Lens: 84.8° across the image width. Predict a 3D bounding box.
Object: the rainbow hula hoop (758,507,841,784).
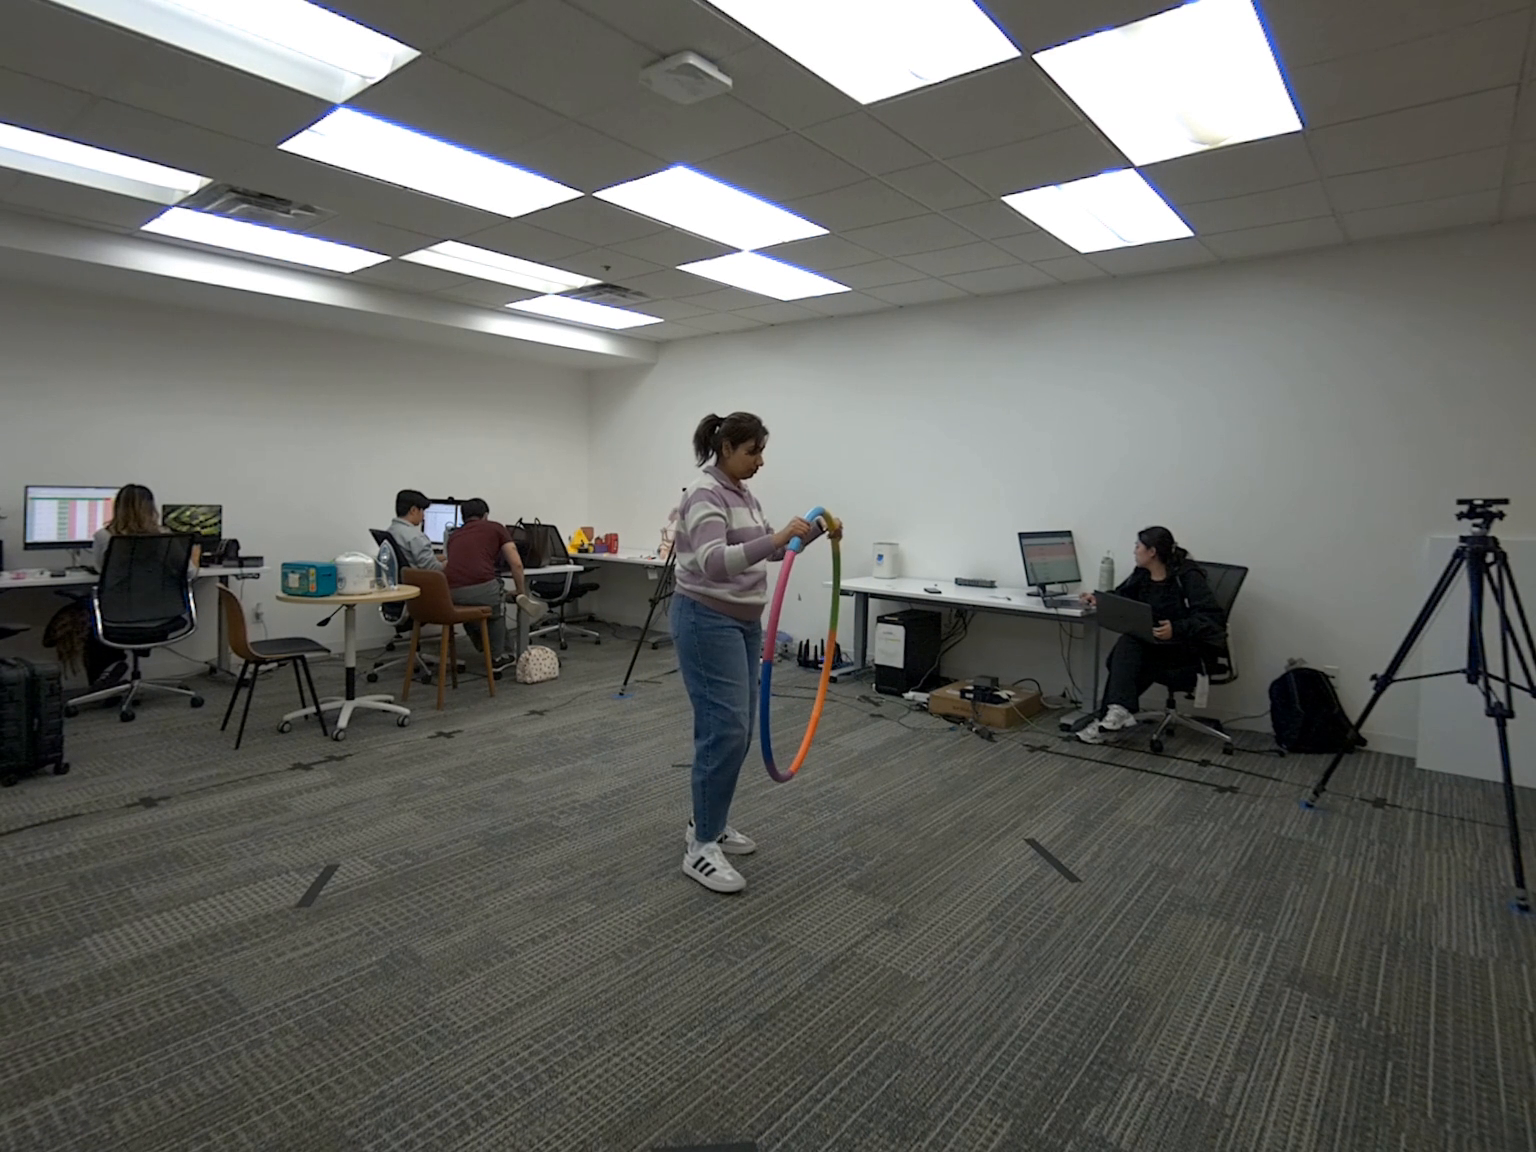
[{"bbox_3d":[0.121,0.246,3.080,0.036,0.974,0.962,8,6,17],"label":"rainbow hula hoop"}]
